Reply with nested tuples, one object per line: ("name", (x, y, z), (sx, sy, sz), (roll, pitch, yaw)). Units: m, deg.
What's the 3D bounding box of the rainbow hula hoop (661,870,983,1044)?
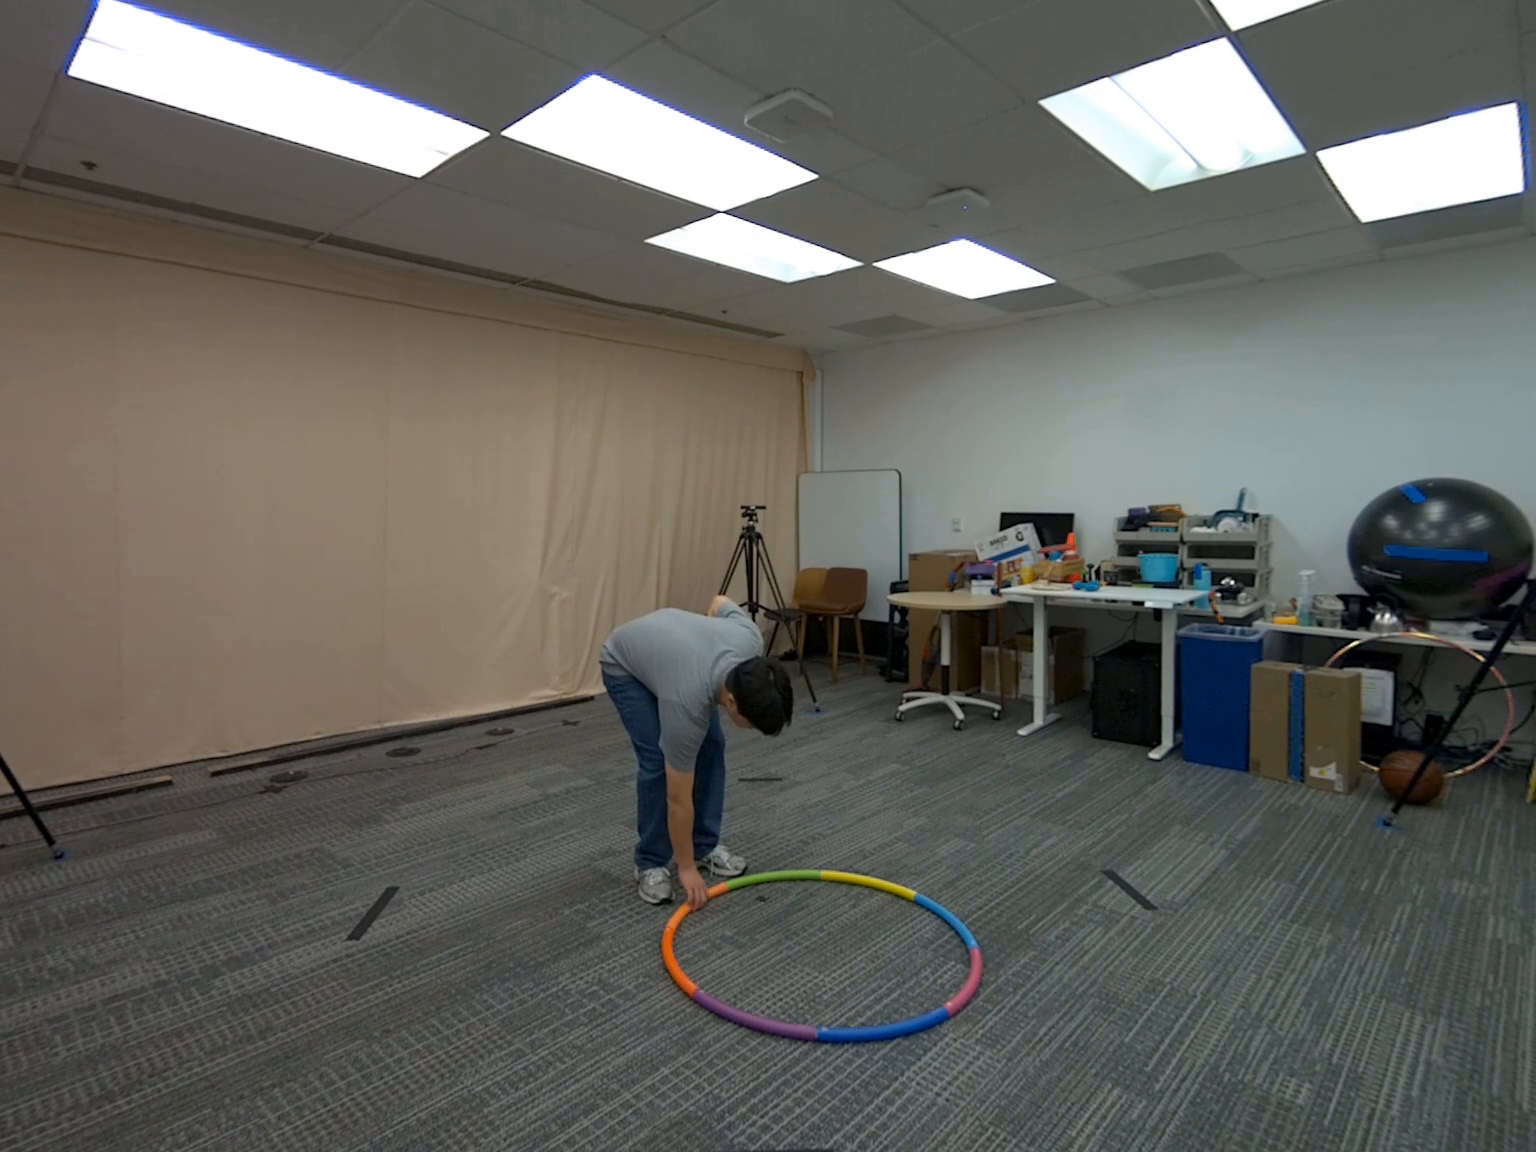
("rainbow hula hoop", (0.162, 1.136, 2.666), (0.978, 0.035, 0.982), (-1, 5, -2))
